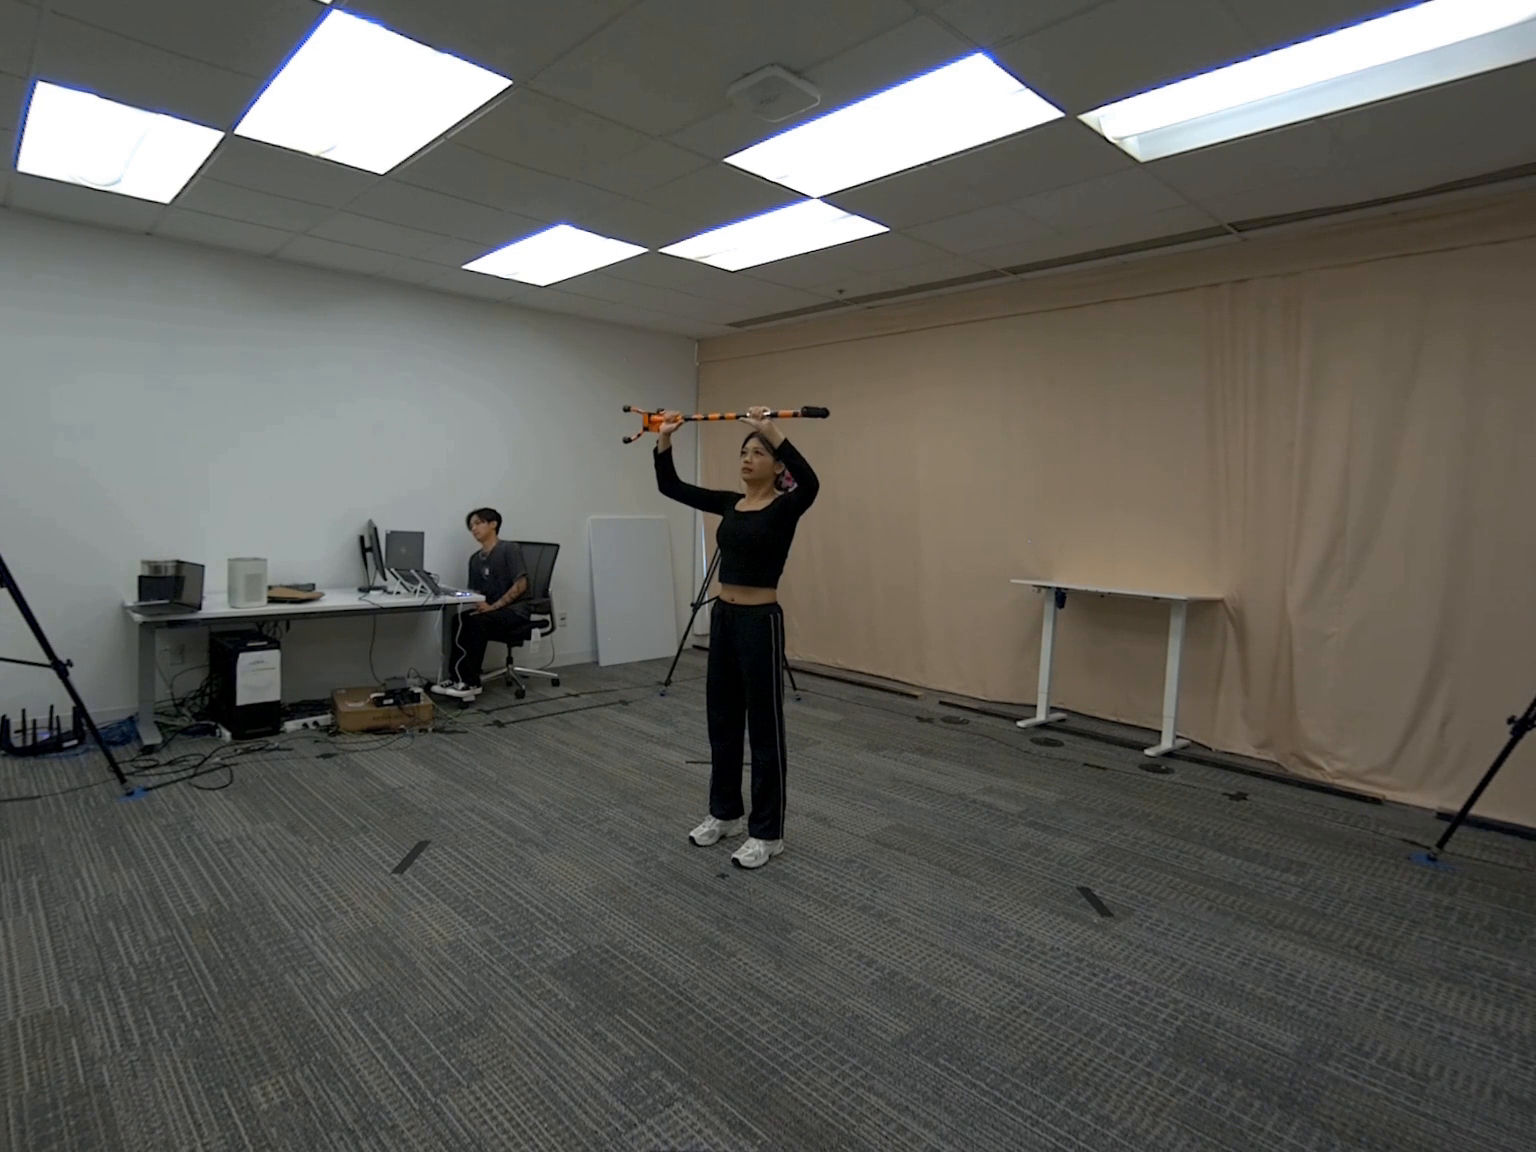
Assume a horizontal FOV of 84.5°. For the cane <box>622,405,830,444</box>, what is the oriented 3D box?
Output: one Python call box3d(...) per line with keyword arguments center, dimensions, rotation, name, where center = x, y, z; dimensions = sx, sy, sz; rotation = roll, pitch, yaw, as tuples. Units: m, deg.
box3d(center=(-0.162, -0.561, 3.039), dimensions=(0.931, 0.151, 0.202), rotation=(7, 8, 43), name="cane")
